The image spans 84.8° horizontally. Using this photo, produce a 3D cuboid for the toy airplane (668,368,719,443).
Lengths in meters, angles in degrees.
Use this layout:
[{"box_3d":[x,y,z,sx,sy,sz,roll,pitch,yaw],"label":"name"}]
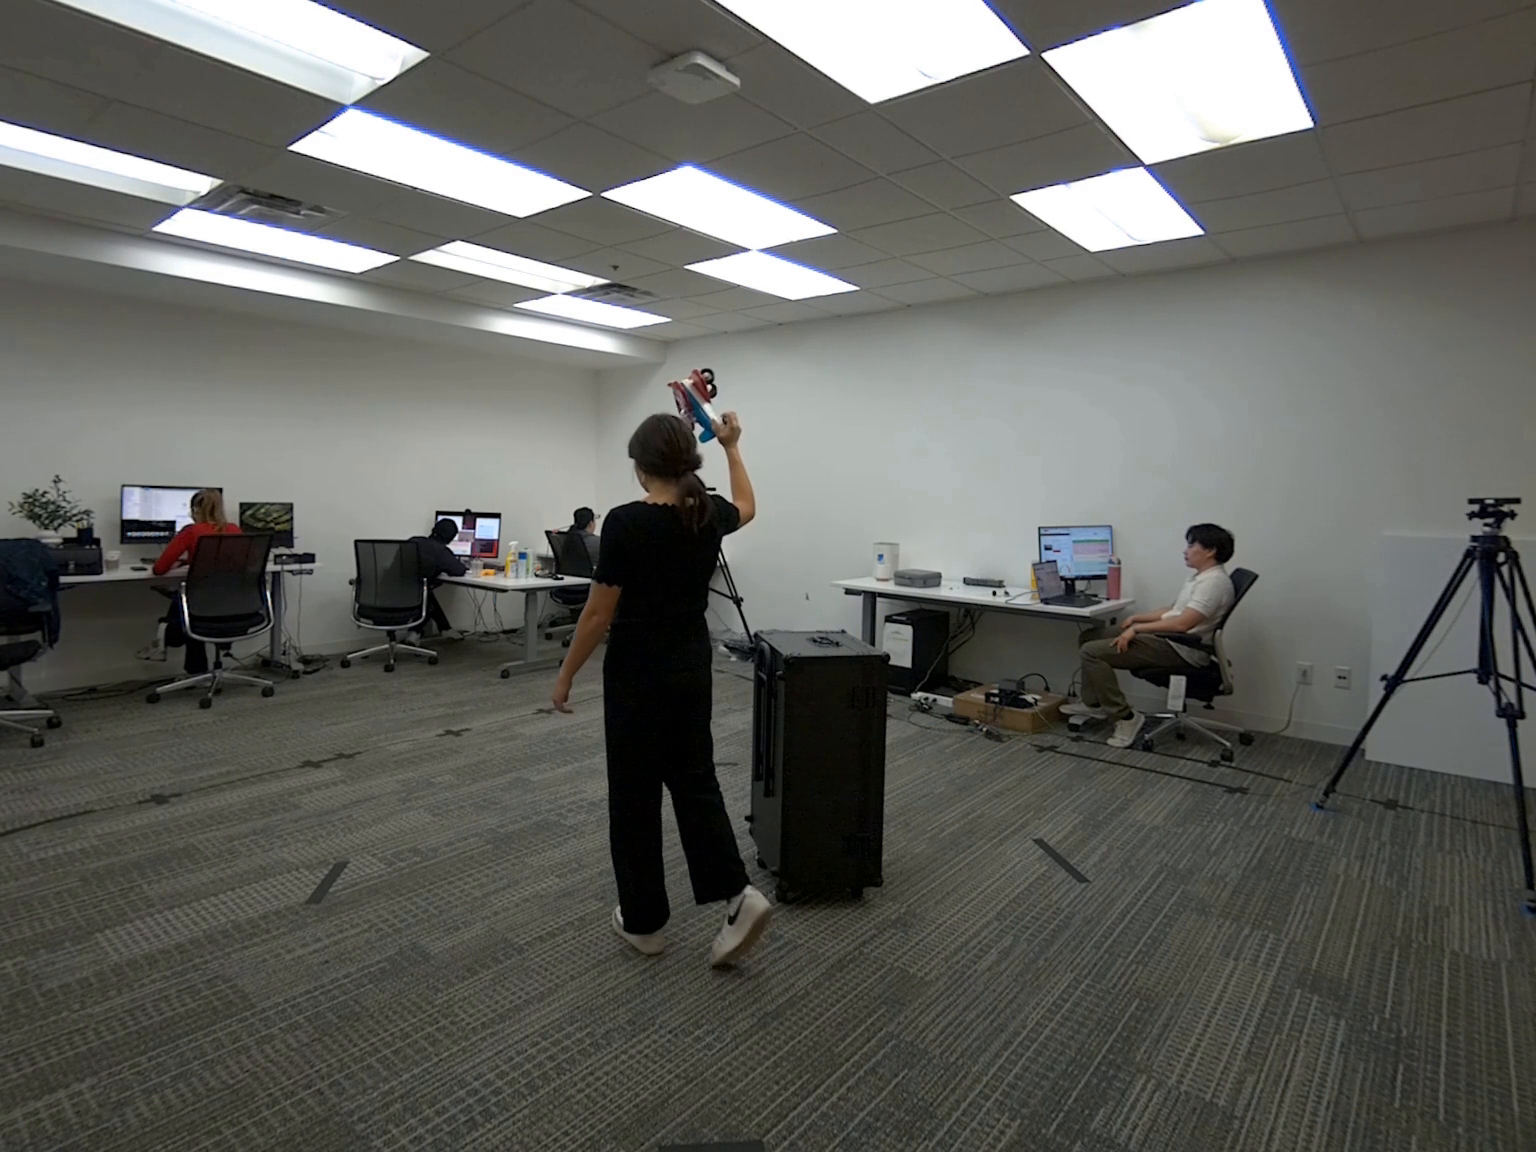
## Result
[{"box_3d":[-0.229,-0.584,2.886,0.156,0.242,0.269,-21,39,-5],"label":"toy airplane"}]
